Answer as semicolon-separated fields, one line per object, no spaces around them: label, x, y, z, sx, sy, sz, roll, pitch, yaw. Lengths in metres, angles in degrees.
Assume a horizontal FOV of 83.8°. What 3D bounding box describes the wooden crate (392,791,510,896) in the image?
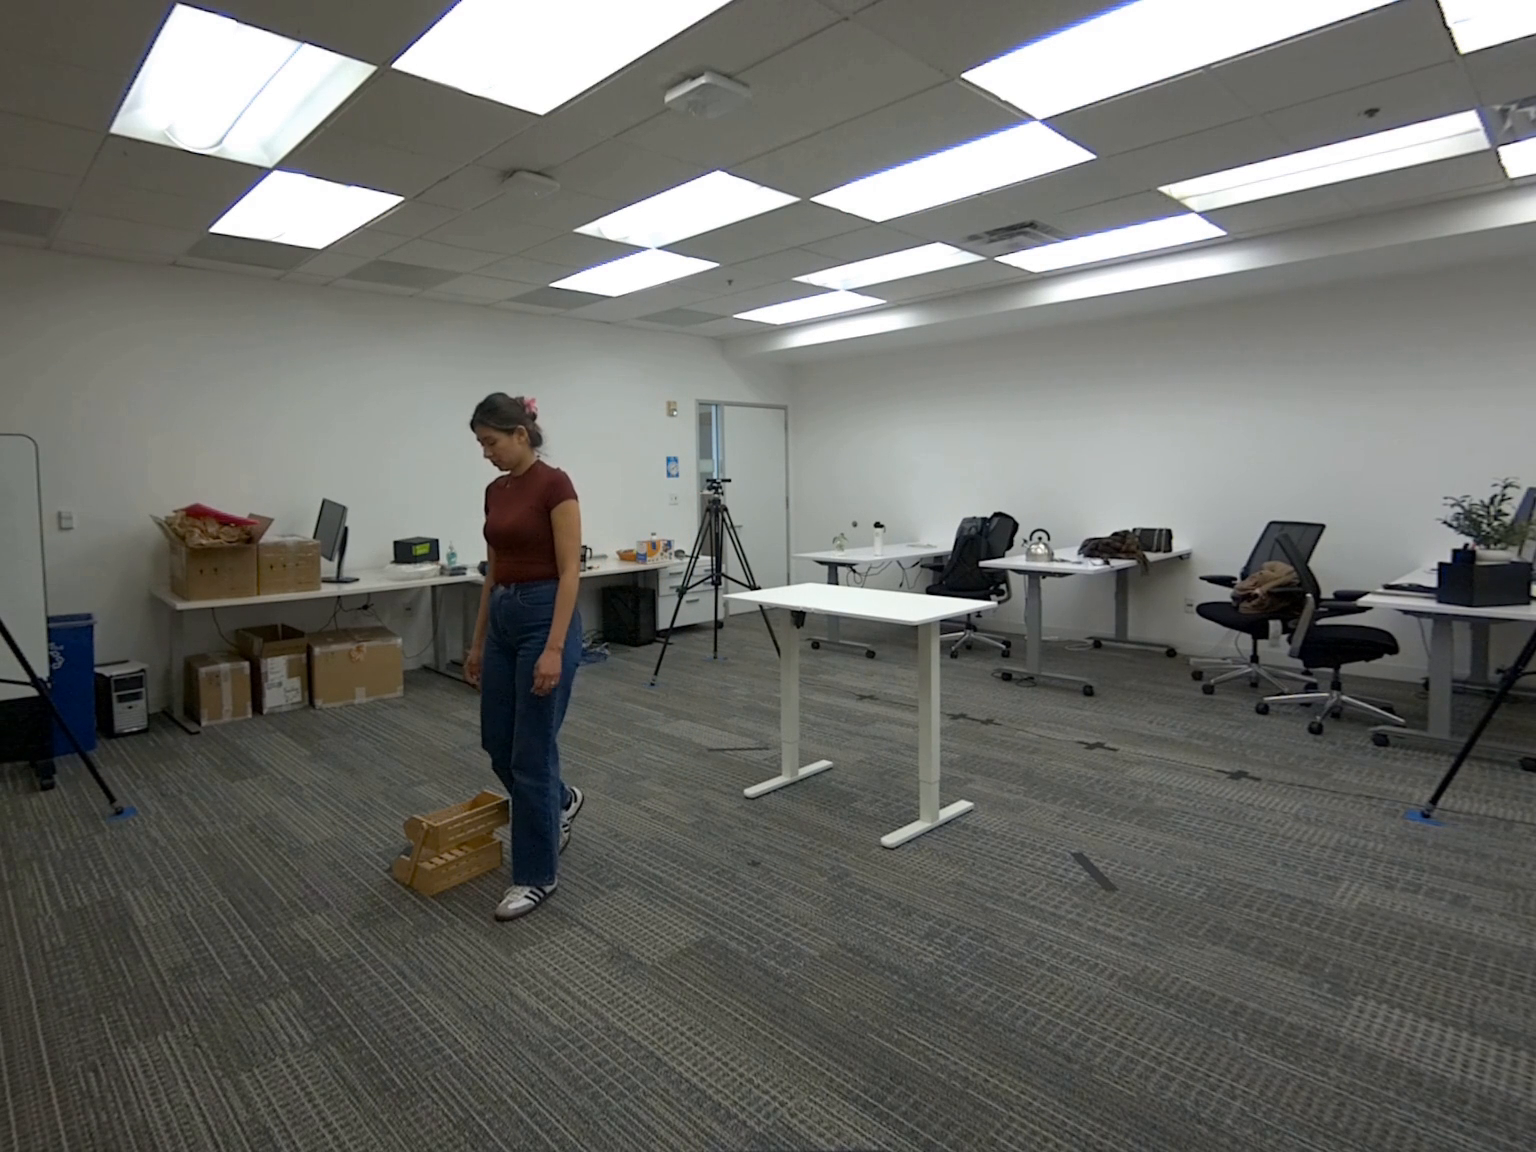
wooden crate;-1.140;0.935;3.078;0.311;0.272;0.316;4;7;35
